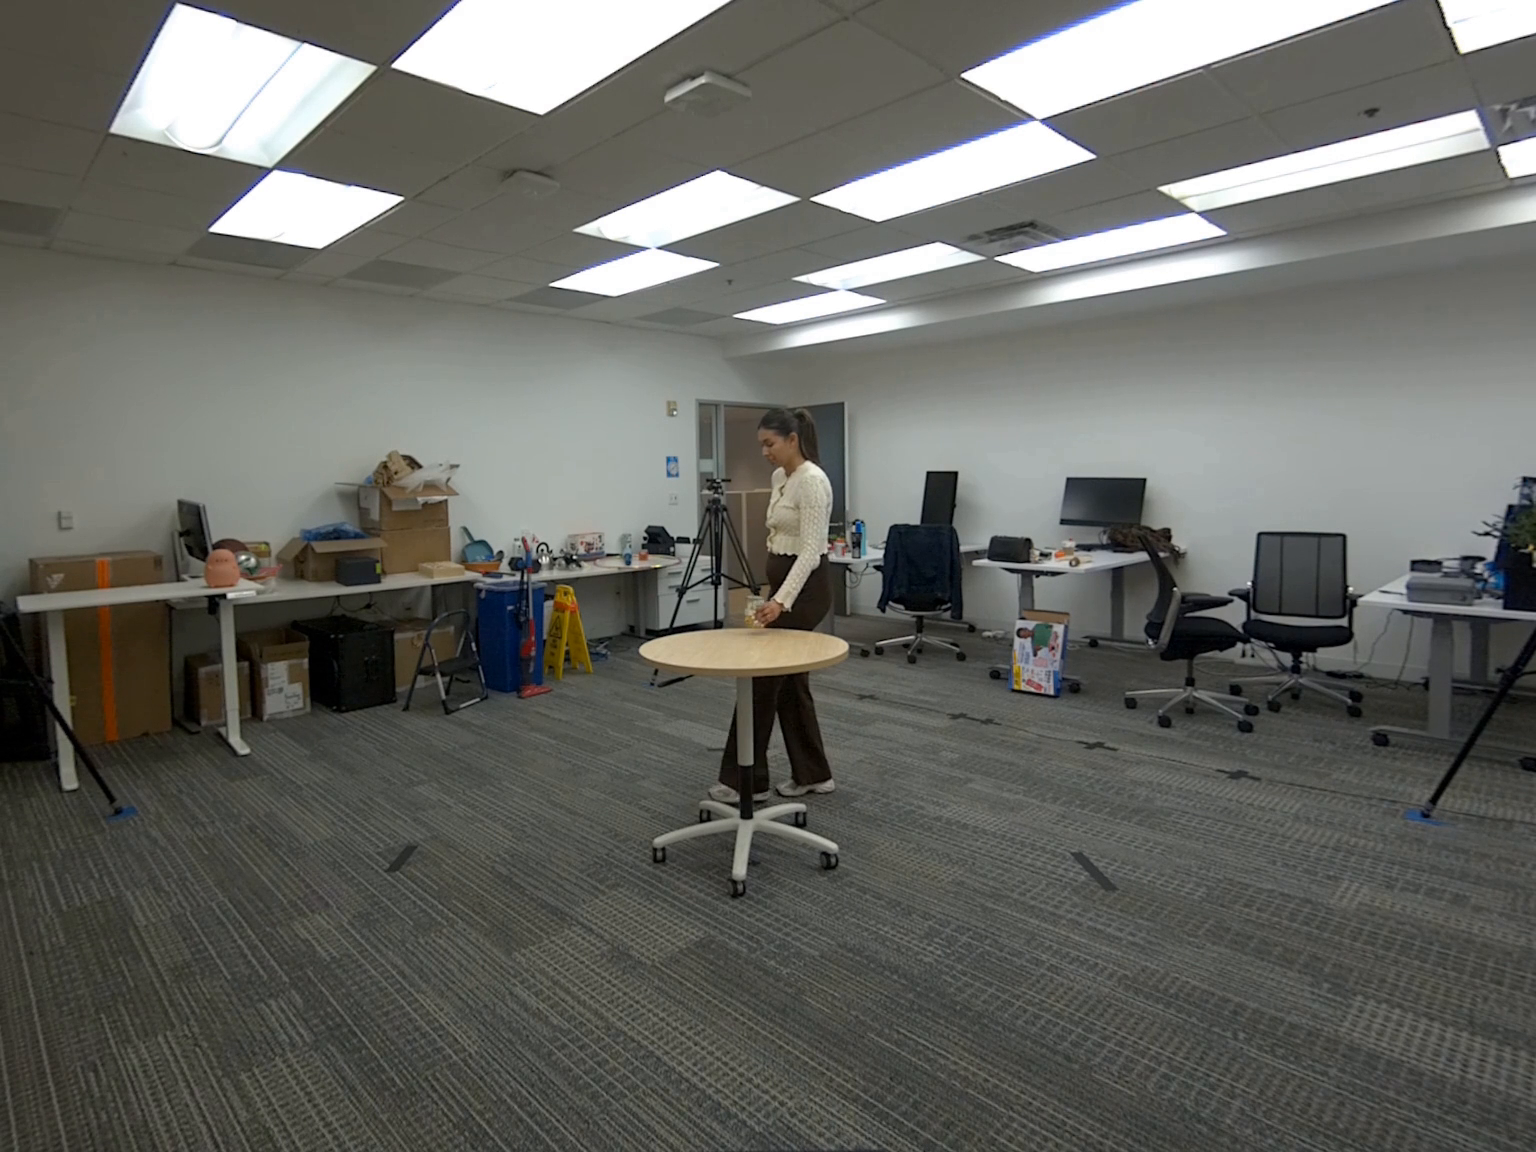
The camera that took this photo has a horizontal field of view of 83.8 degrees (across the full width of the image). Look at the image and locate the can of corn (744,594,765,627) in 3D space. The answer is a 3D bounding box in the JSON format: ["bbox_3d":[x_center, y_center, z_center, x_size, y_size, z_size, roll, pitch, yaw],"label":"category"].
[{"bbox_3d":[-0.041,0.140,3.366,0.074,0.110,0.075,0,6,-2],"label":"can of corn"}]
